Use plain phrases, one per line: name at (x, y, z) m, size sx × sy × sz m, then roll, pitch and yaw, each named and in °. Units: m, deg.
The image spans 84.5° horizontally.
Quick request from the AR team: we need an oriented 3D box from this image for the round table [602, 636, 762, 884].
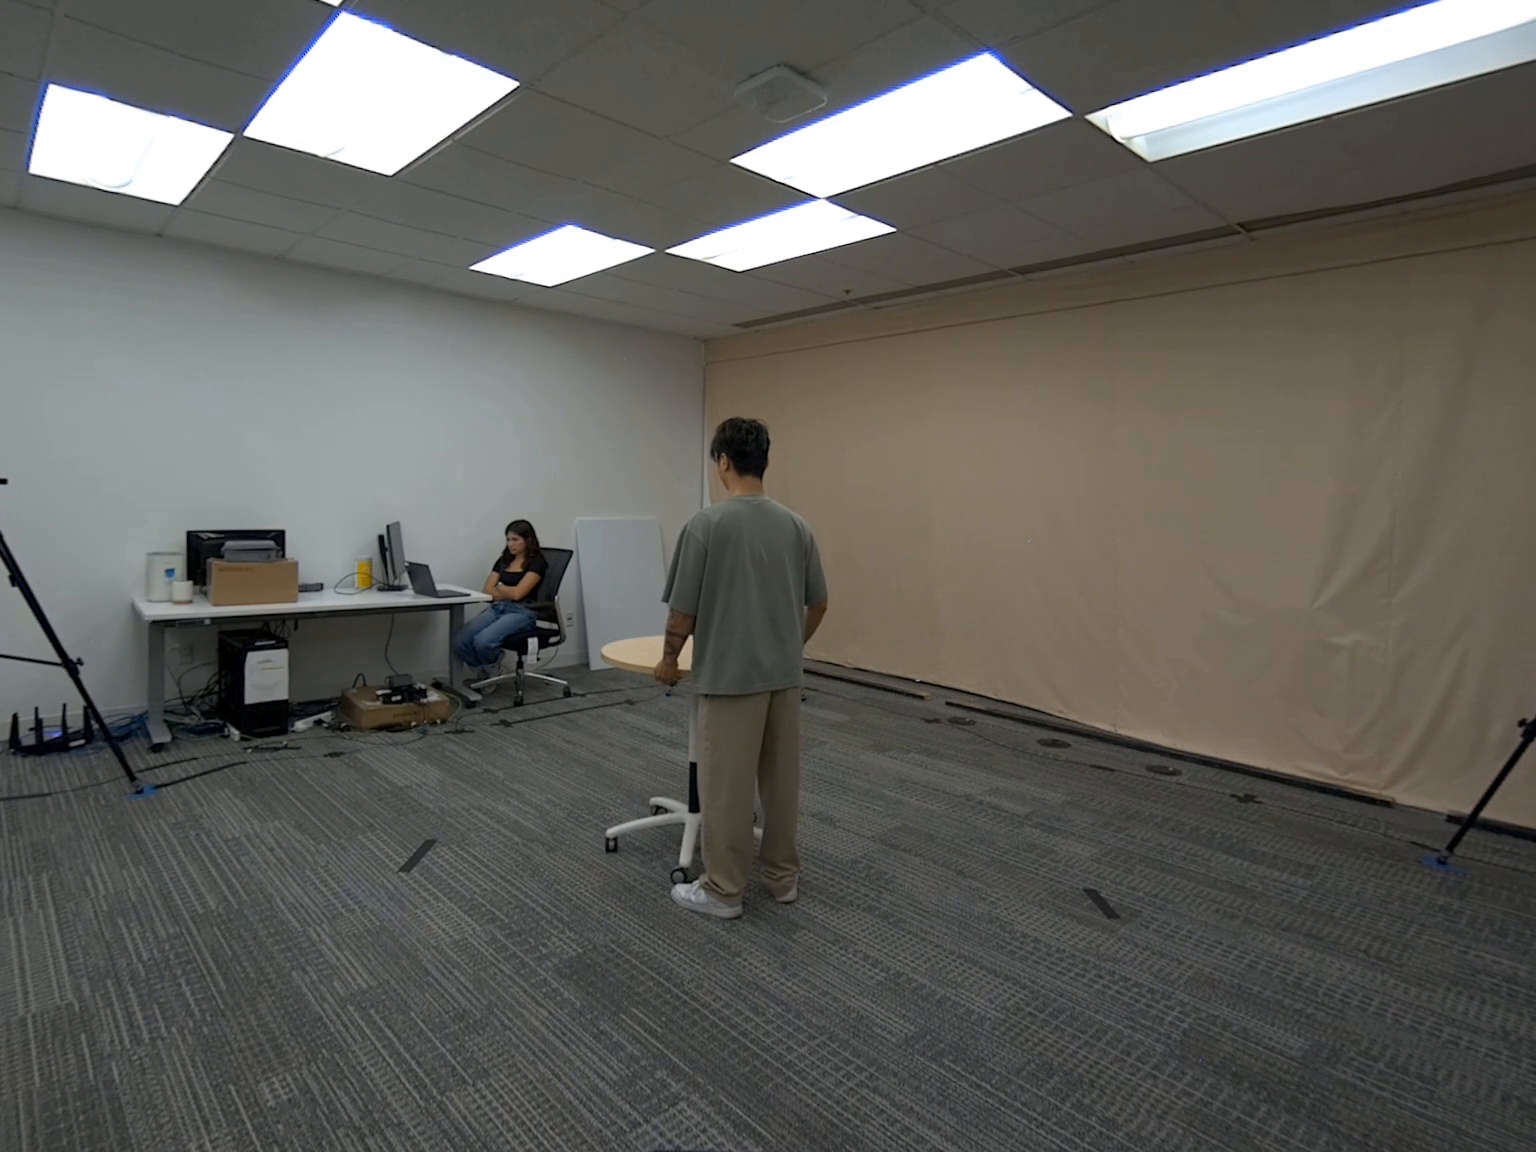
round table at (-0.306, 0.688, 3.352) m, size 0.784 × 0.784 × 0.788 m, roll 2°, pitch 4°, yaw -2°
